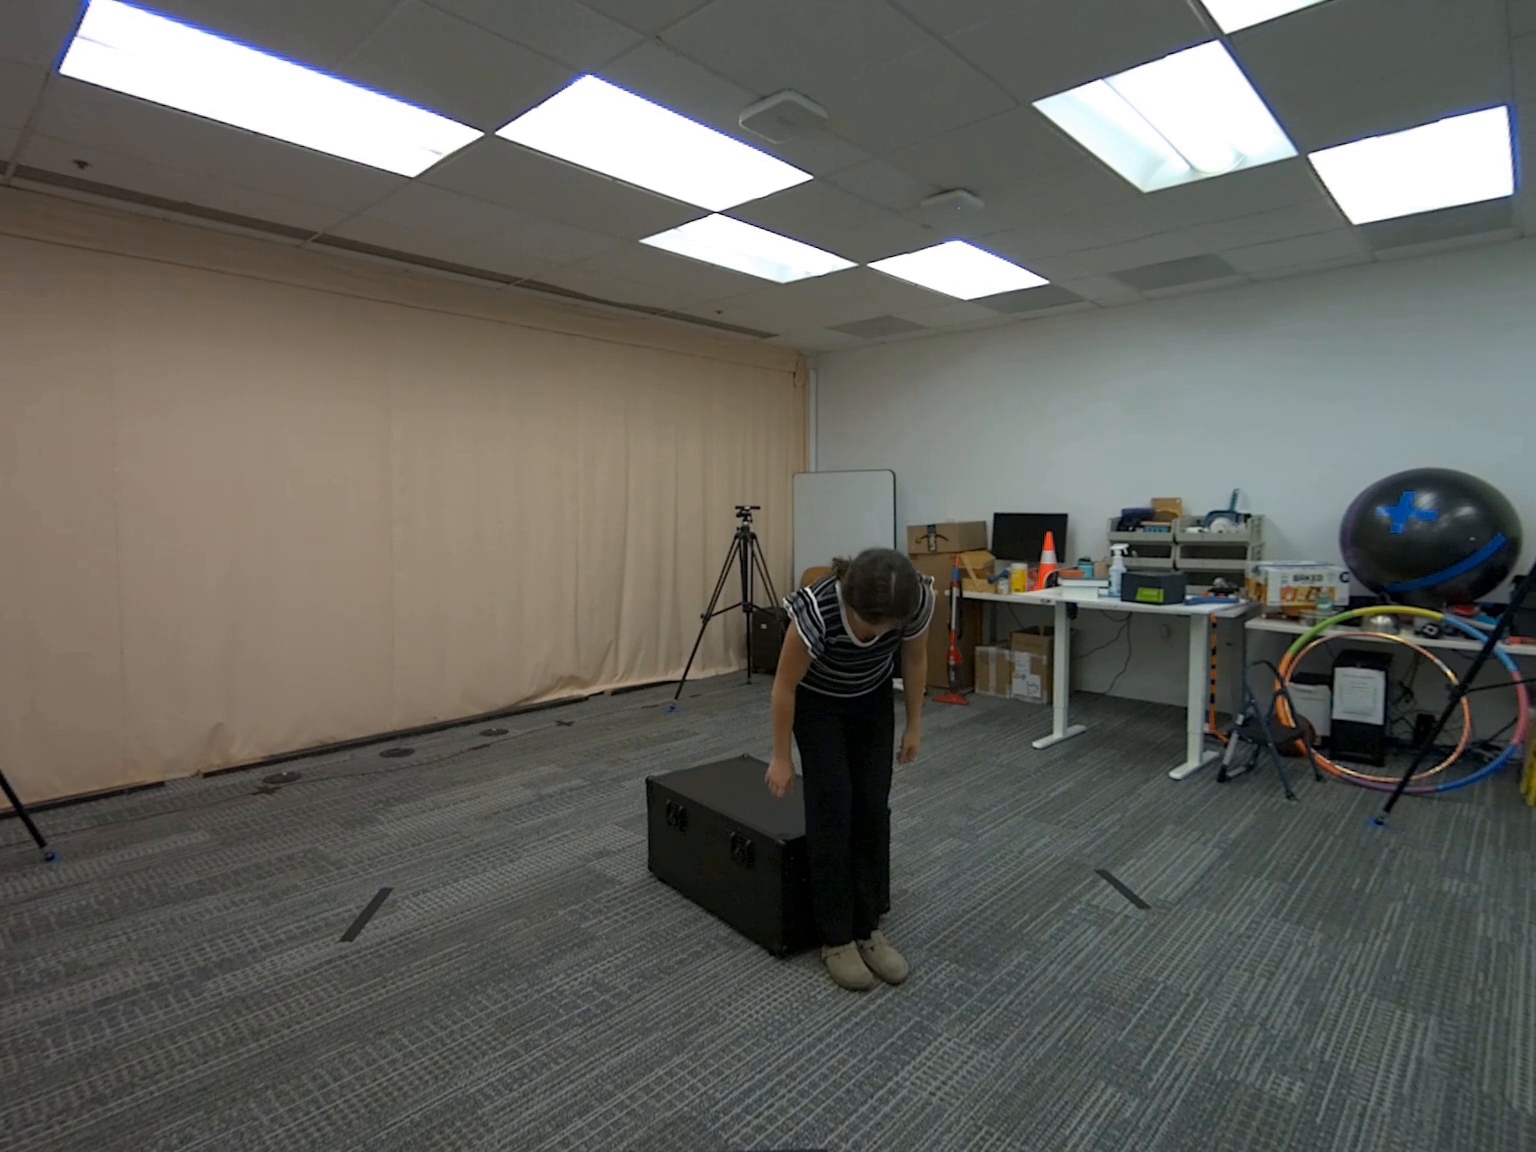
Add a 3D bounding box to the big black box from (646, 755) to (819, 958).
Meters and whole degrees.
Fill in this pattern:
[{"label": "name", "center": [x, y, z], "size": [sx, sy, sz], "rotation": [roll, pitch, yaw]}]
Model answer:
[{"label": "big black box", "center": [-0.040, 0.949, 3.028], "size": [0.506, 0.395, 0.890], "rotation": [-3, 6, -38]}]
